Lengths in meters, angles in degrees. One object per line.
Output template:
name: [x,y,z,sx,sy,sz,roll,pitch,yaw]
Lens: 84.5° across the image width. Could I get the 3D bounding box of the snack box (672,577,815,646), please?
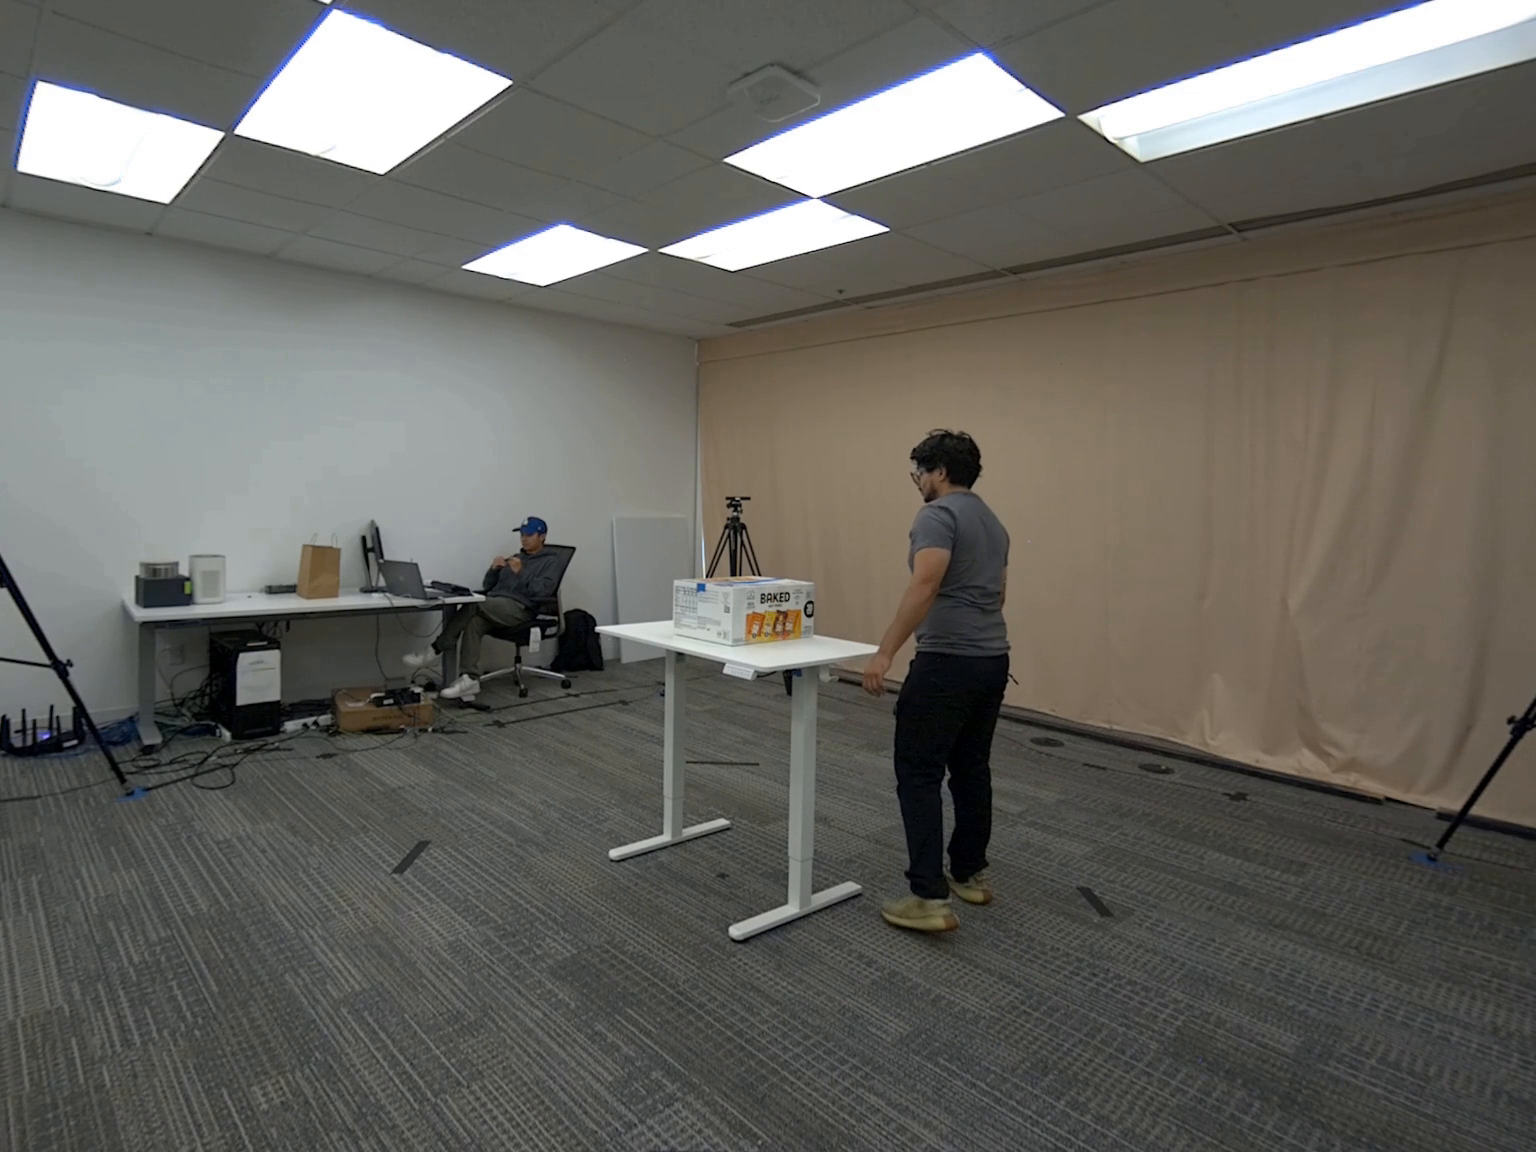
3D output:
snack box: [-0.095,0.121,3.121,0.396,0.205,0.349,-3,5,-42]
